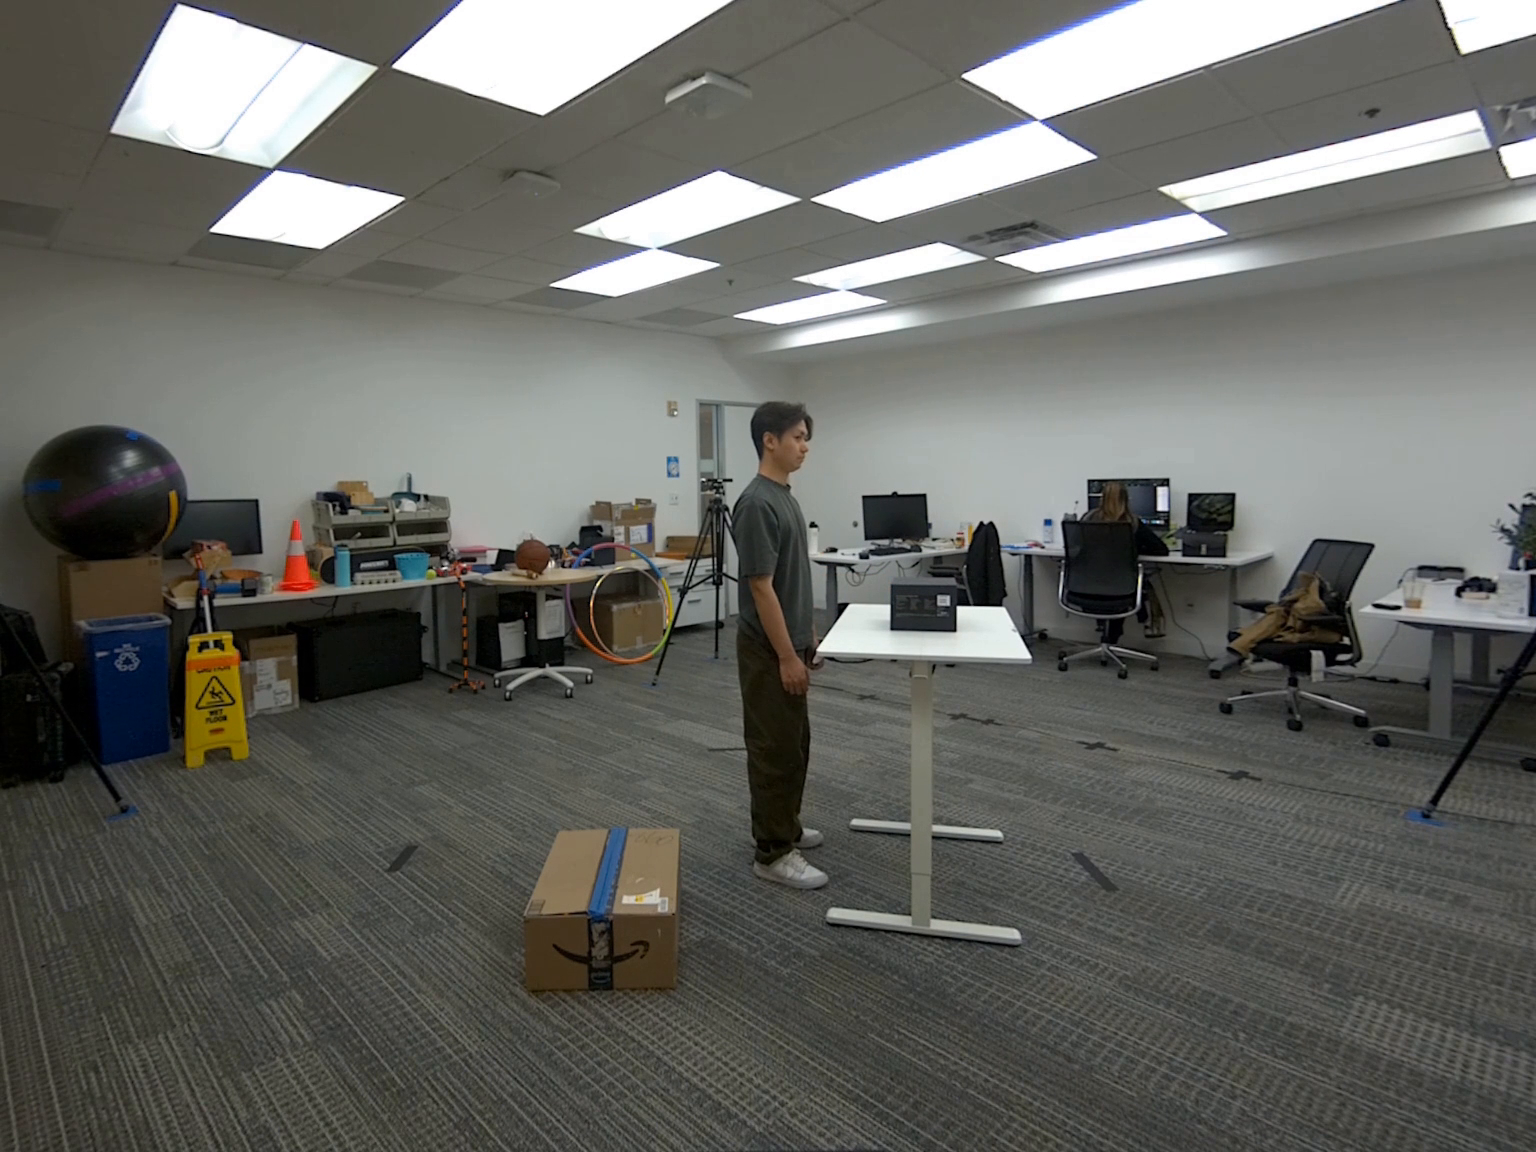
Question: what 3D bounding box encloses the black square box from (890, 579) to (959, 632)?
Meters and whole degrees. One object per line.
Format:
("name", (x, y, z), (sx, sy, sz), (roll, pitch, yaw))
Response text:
("black square box", (0.538, 0.090, 2.927), (0.220, 0.155, 0.225), (2, 4, 13))
